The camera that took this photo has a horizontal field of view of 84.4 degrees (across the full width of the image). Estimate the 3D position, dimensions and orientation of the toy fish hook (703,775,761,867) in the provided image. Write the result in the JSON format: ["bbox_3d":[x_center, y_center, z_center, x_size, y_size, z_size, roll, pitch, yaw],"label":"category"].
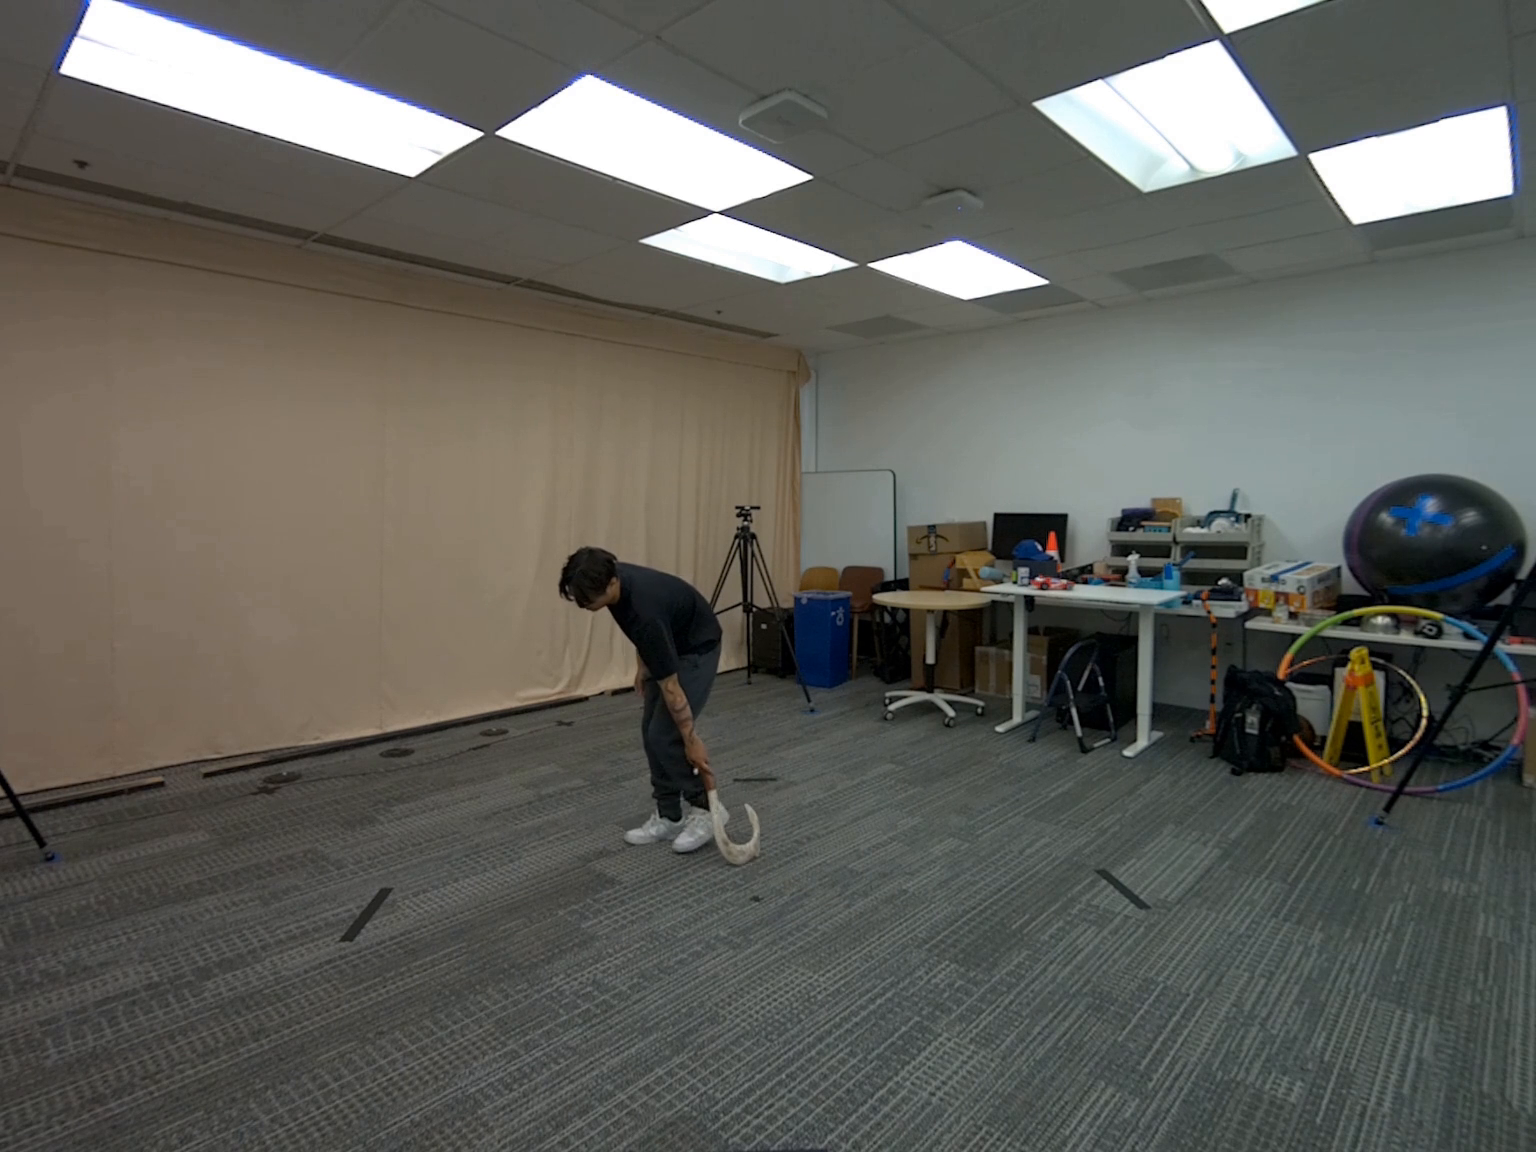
[{"bbox_3d":[-0.166,0.887,3.339,0.218,0.511,0.049,-12,-14,-47],"label":"toy fish hook"}]
